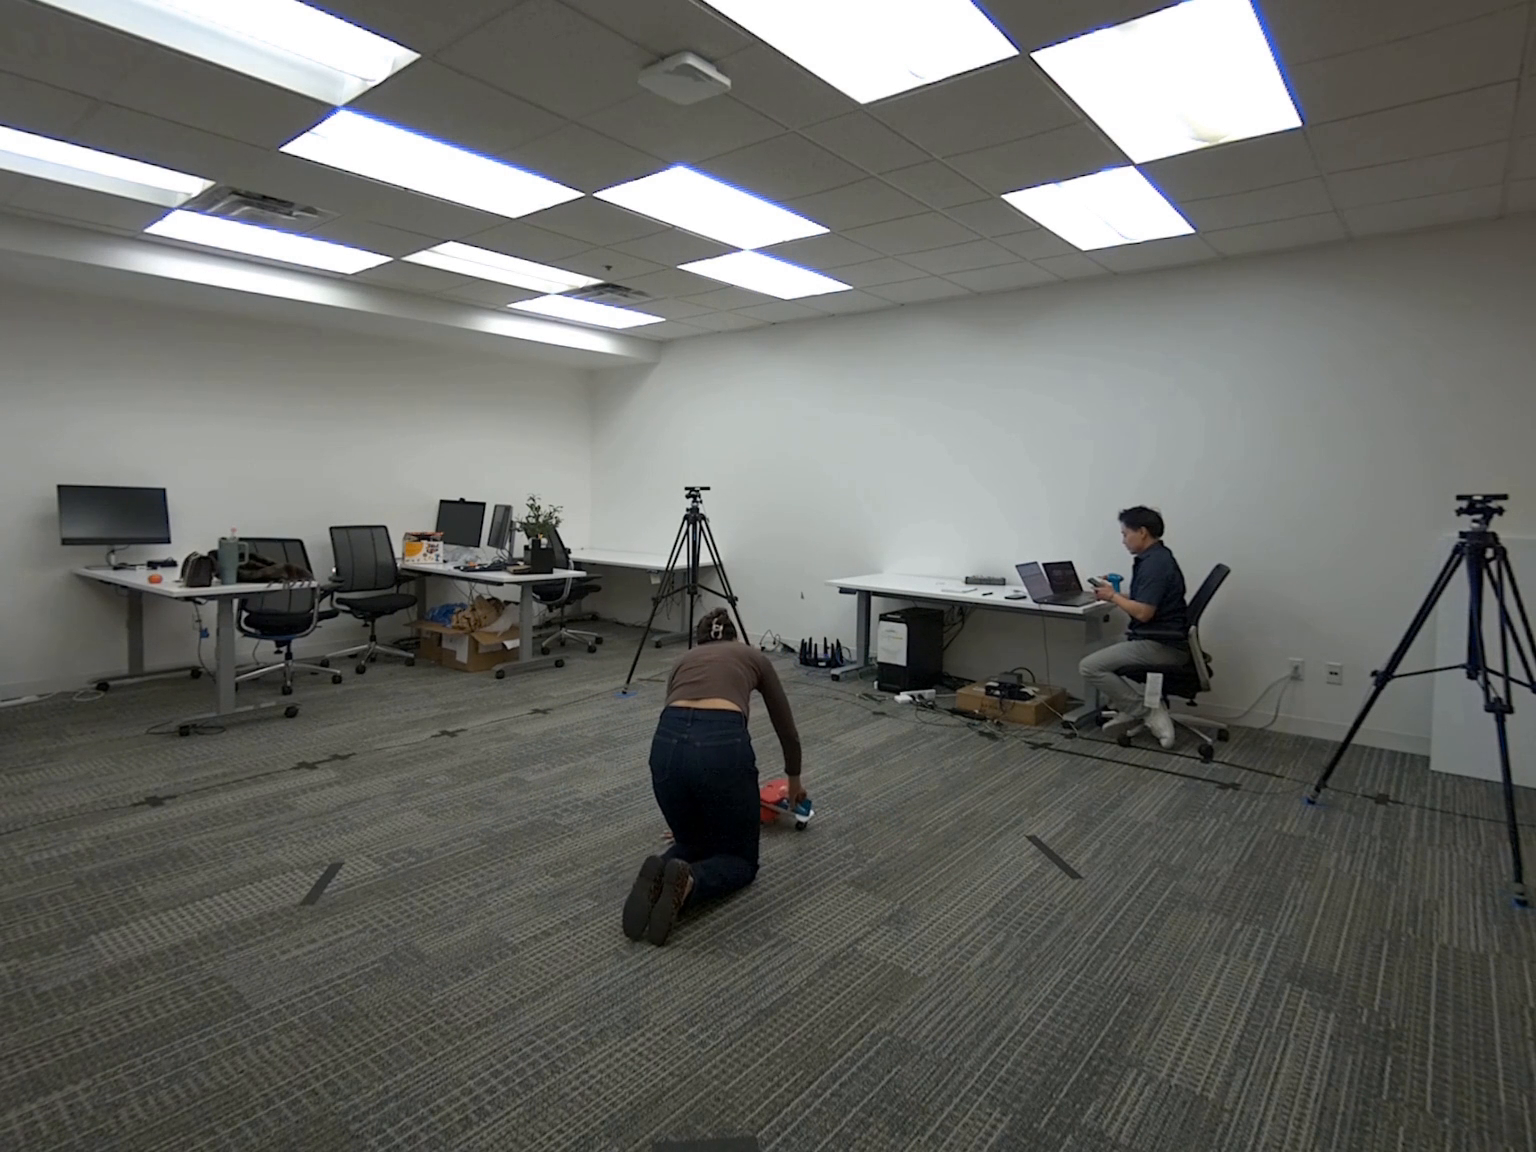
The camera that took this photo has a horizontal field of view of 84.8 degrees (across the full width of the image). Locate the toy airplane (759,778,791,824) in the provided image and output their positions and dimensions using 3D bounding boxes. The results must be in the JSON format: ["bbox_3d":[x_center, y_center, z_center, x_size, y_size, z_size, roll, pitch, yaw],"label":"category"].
[{"bbox_3d":[0.053,0.950,3.549,0.258,0.156,0.253,-2,5,-3],"label":"toy airplane"}]
